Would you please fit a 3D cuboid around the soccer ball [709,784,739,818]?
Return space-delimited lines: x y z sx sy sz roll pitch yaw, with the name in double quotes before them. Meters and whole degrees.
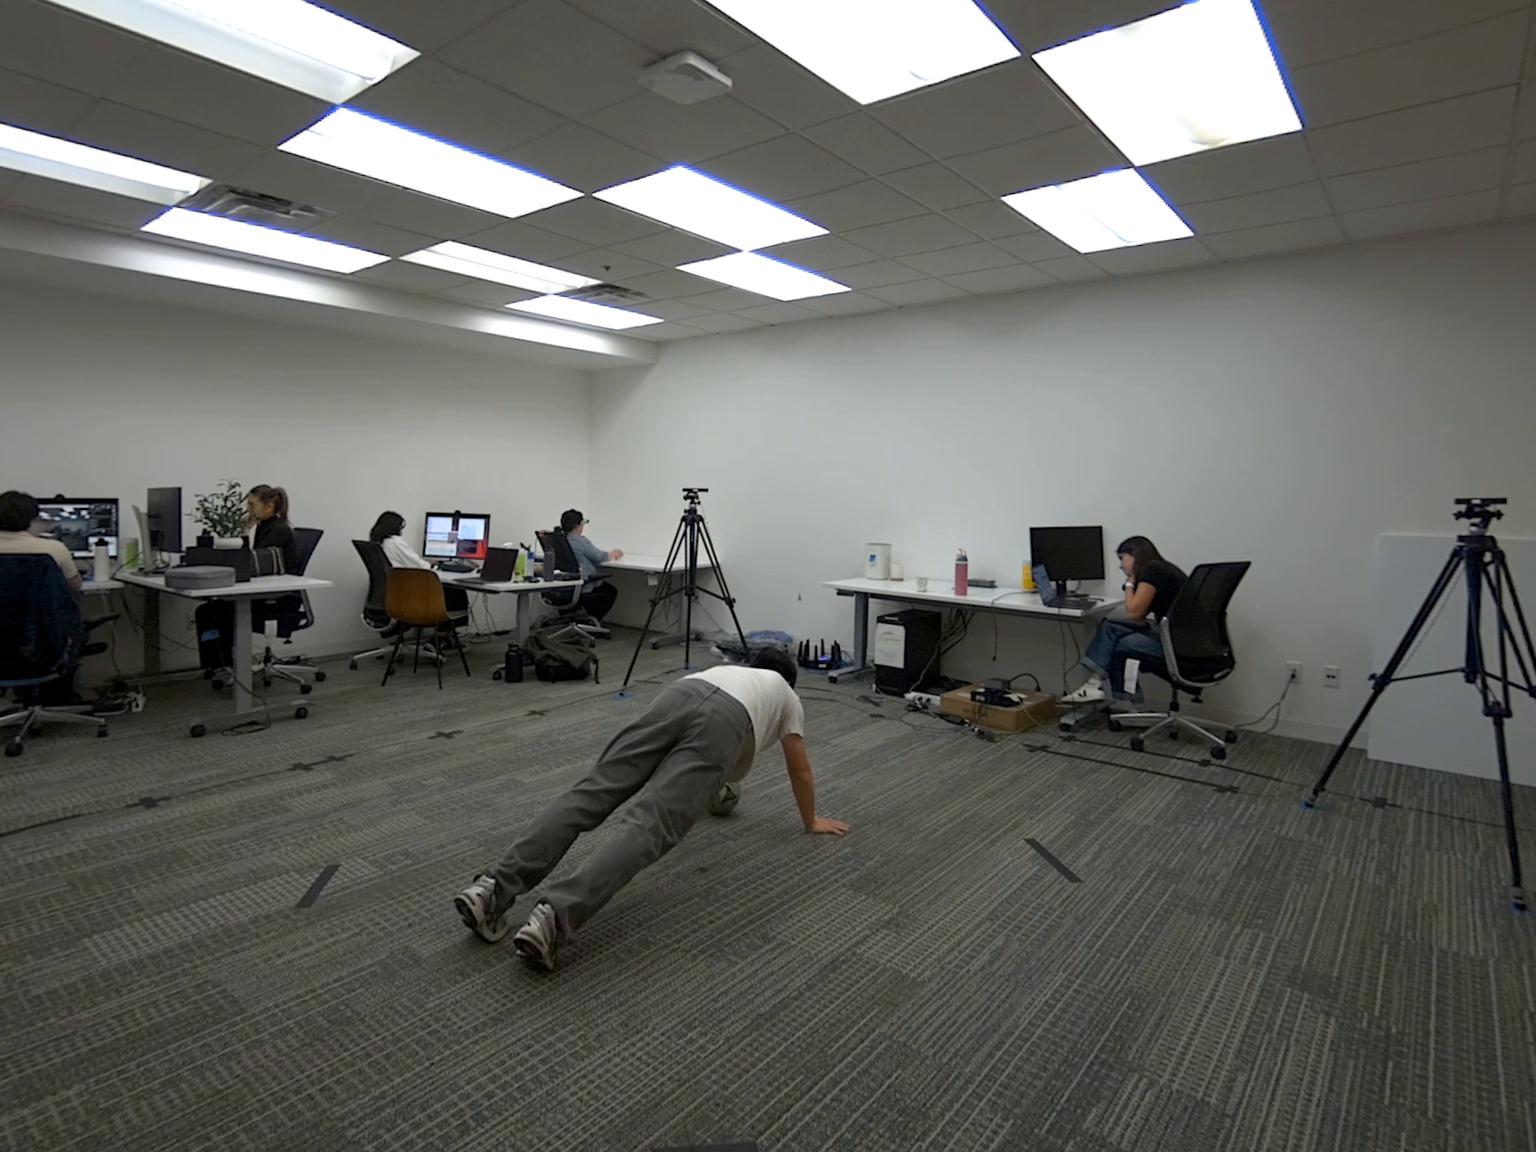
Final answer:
"soccer ball" -0.198 0.916 3.660 0.187 0.187 0.188 1 4 -2
